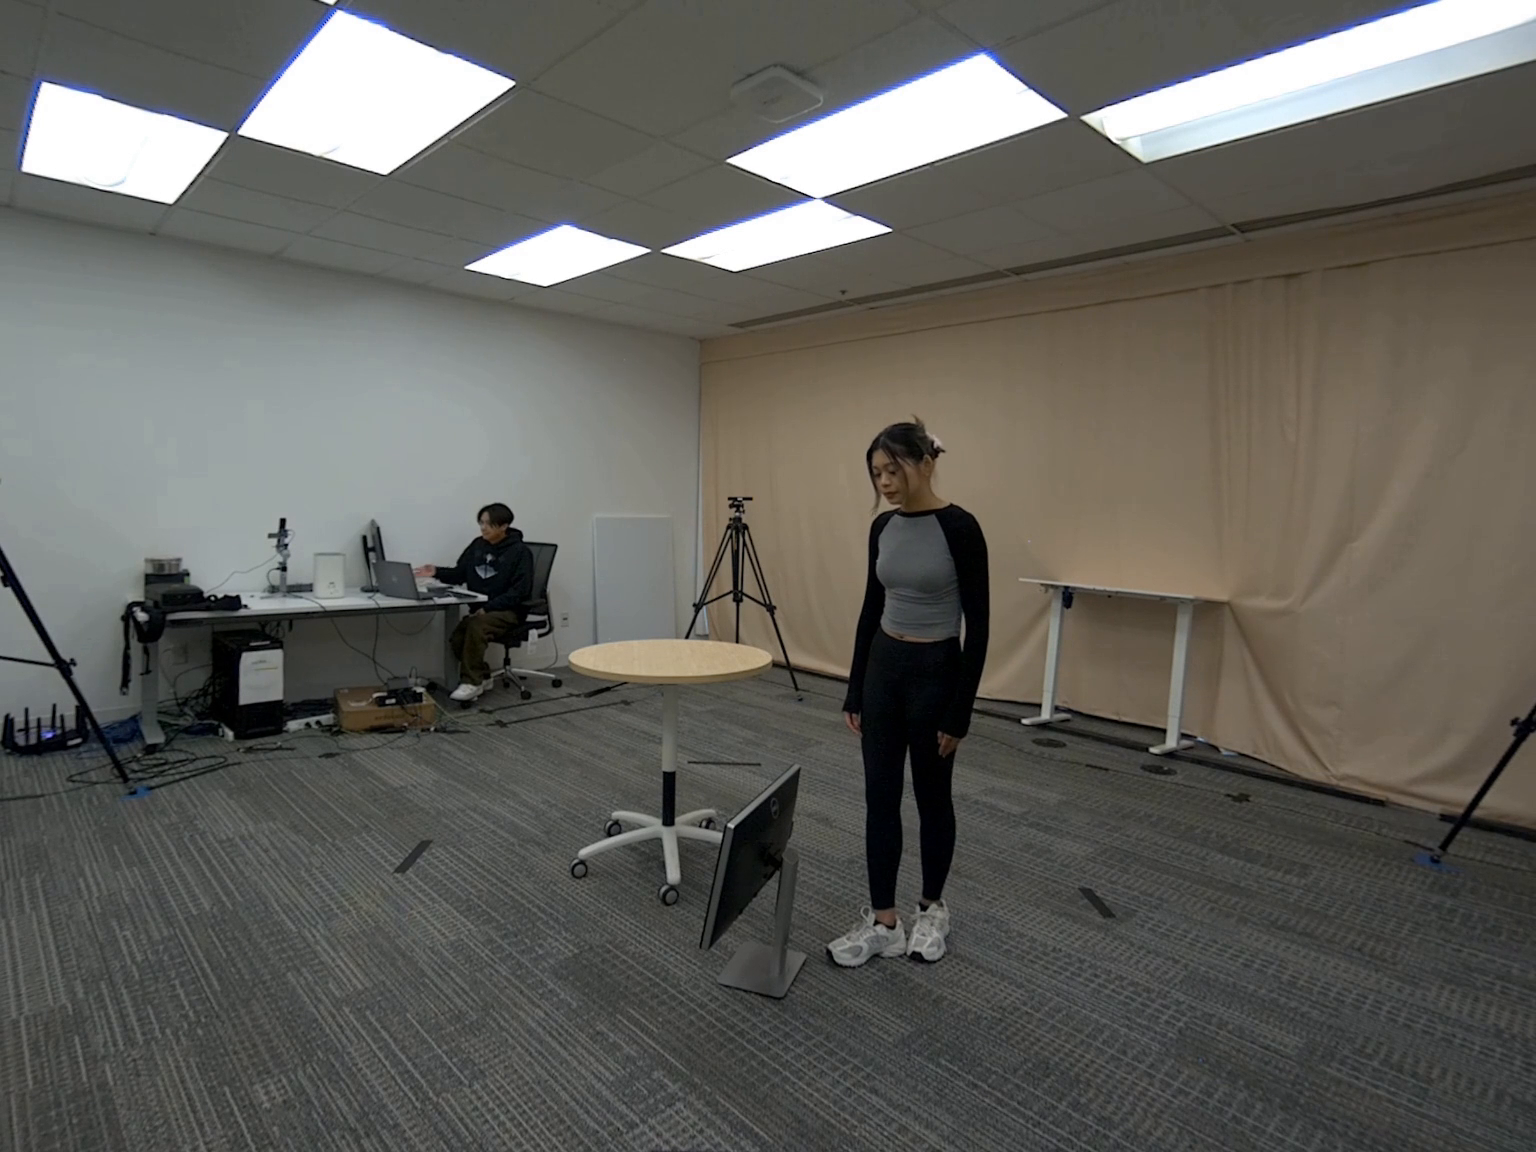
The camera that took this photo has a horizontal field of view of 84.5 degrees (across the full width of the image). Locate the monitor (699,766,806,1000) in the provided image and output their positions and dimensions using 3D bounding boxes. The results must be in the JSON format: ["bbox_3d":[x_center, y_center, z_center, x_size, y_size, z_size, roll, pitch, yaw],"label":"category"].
[{"bbox_3d":[-0.012,0.908,2.464,0.190,0.521,0.532,1,5,20],"label":"monitor"}]
